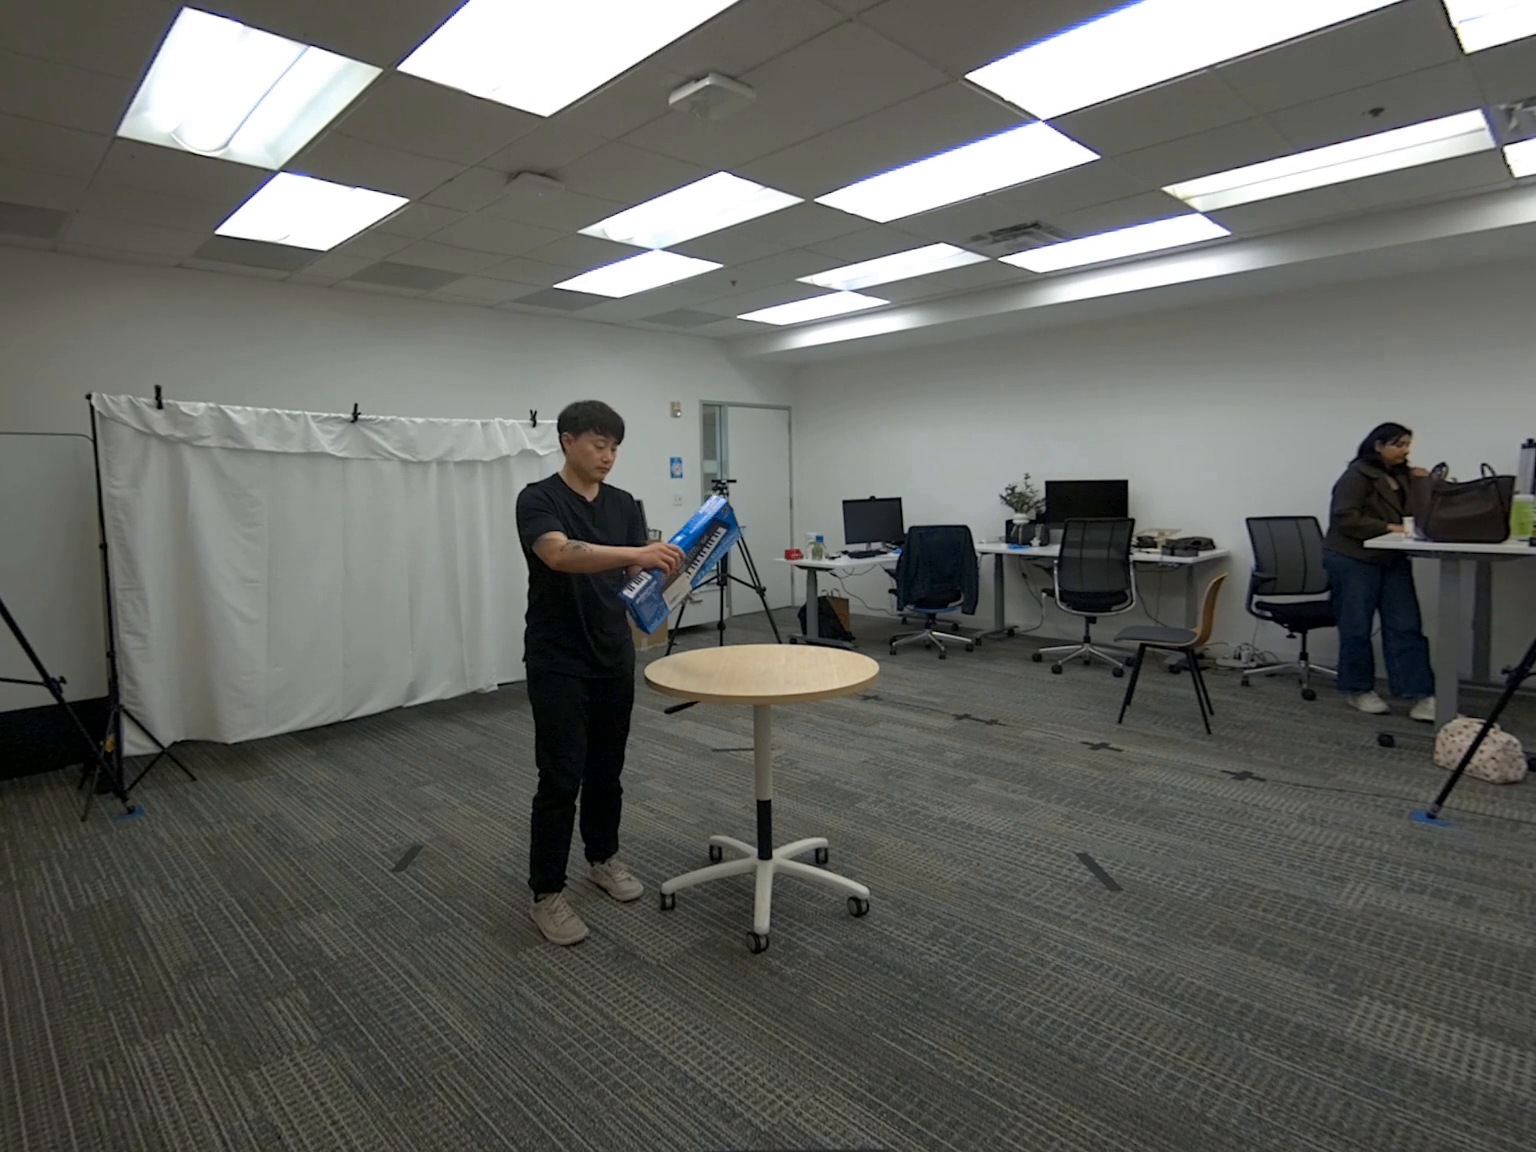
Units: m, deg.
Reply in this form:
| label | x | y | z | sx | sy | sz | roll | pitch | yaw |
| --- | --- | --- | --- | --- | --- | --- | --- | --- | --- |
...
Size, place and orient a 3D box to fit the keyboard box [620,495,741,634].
| label | x | y | z | sx | sy | sz | roll | pitch | yaw |
| --- | --- | --- | --- | --- | --- | --- | --- | --- | --- |
| keyboard box | -0.257 | -0.035 | 2.567 | 0.061 | 0.170 | 0.437 | 26 | 63 | 33 |
